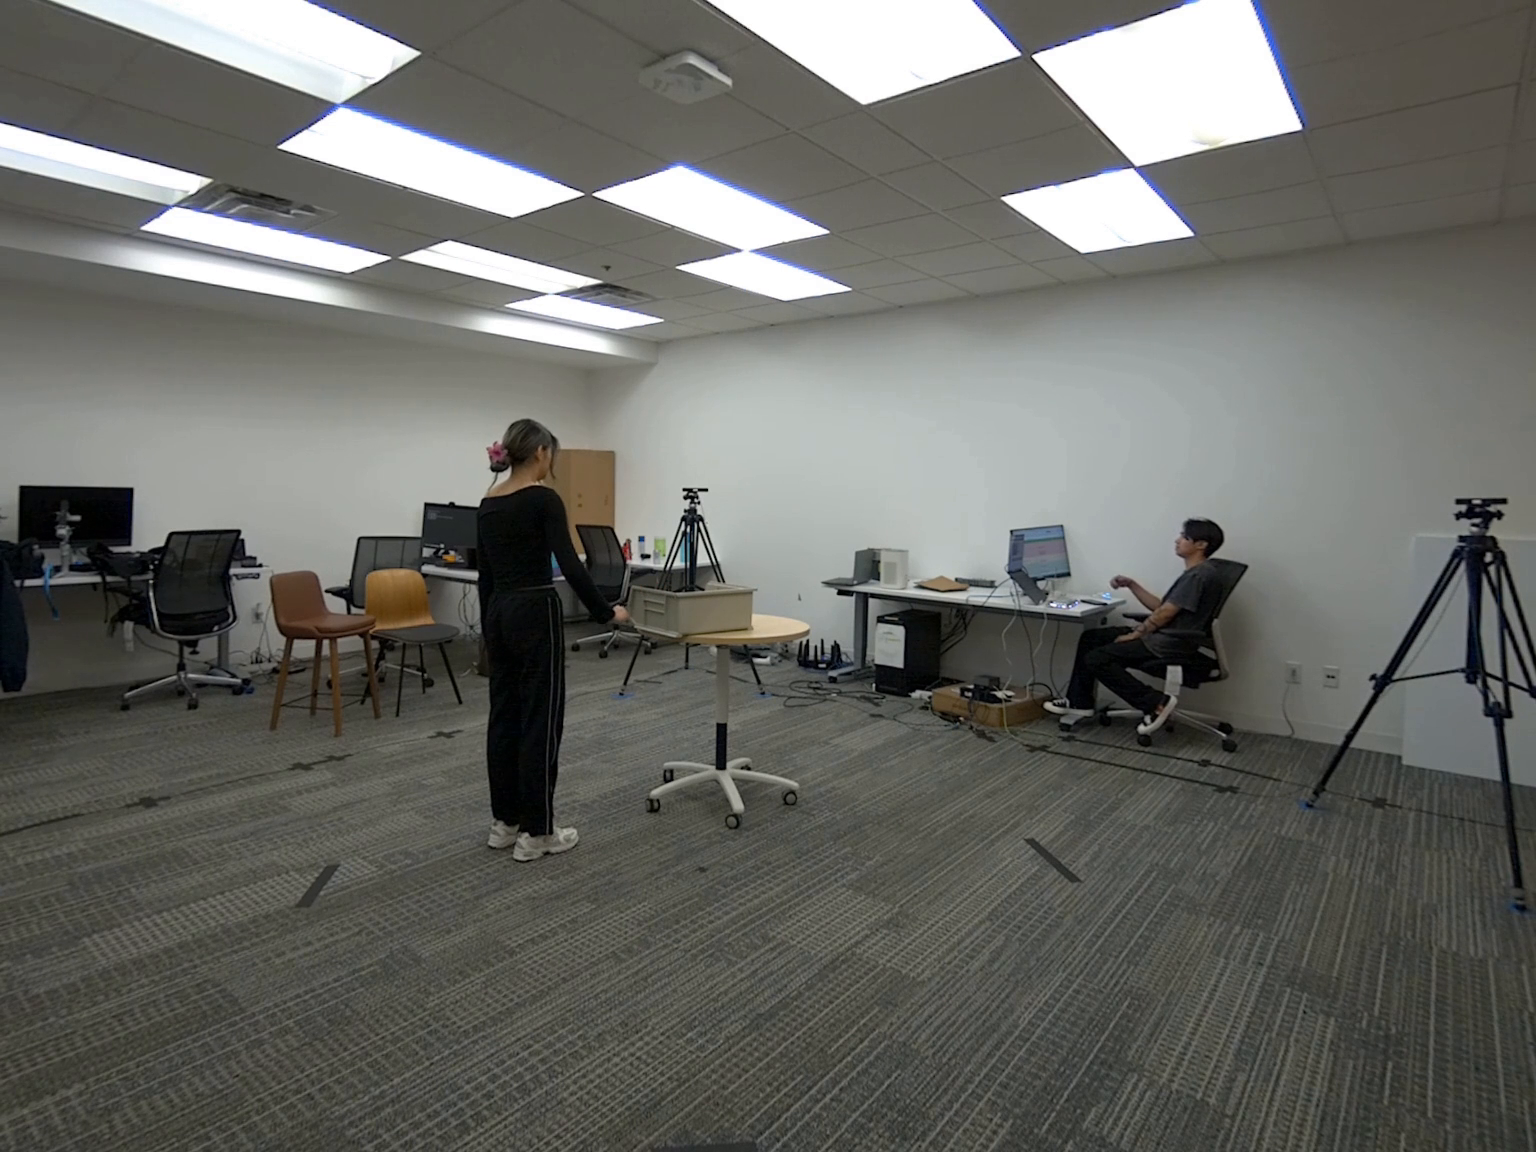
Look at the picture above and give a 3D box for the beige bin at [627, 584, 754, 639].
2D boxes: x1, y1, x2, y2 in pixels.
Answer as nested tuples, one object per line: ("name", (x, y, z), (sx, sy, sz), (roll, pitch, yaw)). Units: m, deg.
("beige bin", (-0.345, 0.132, 3.651), (0.409, 0.188, 0.390), (-2, 7, -39))
